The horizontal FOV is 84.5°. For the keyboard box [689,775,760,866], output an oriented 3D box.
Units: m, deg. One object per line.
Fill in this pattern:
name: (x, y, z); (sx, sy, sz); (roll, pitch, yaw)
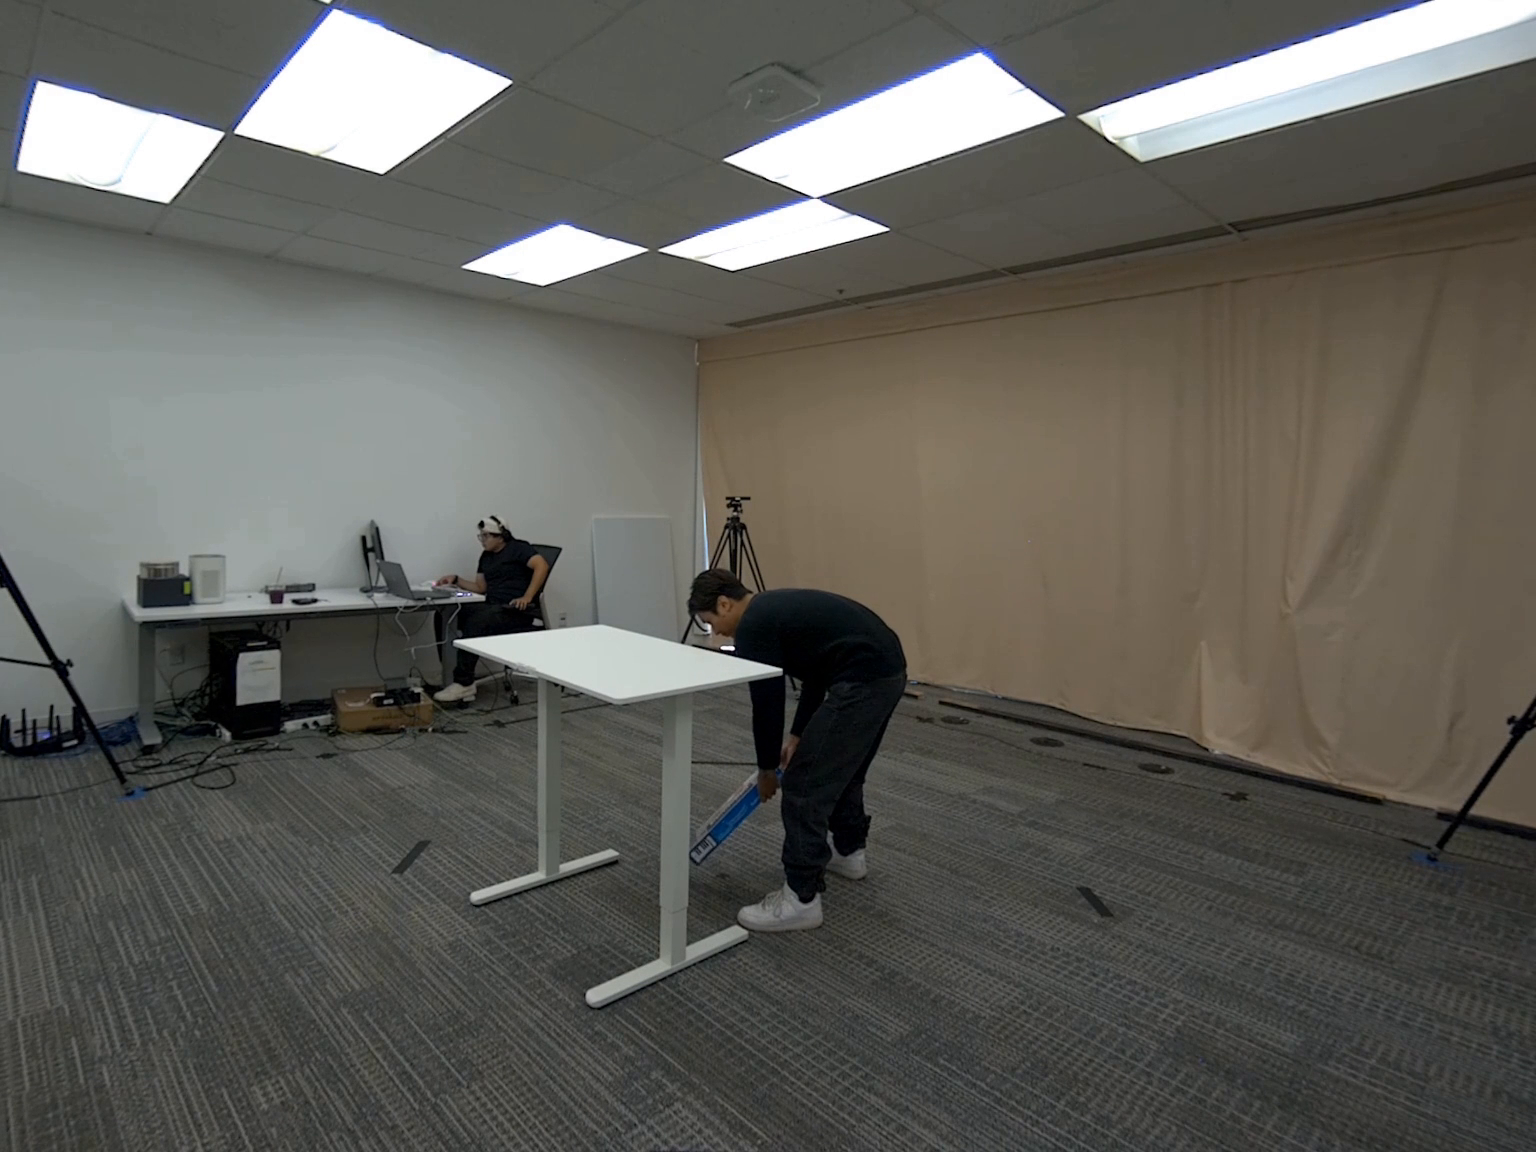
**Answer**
keyboard box: (-0.124, 0.851, 3.044); (0.059, 0.436, 0.176); (46, -8, -4)
